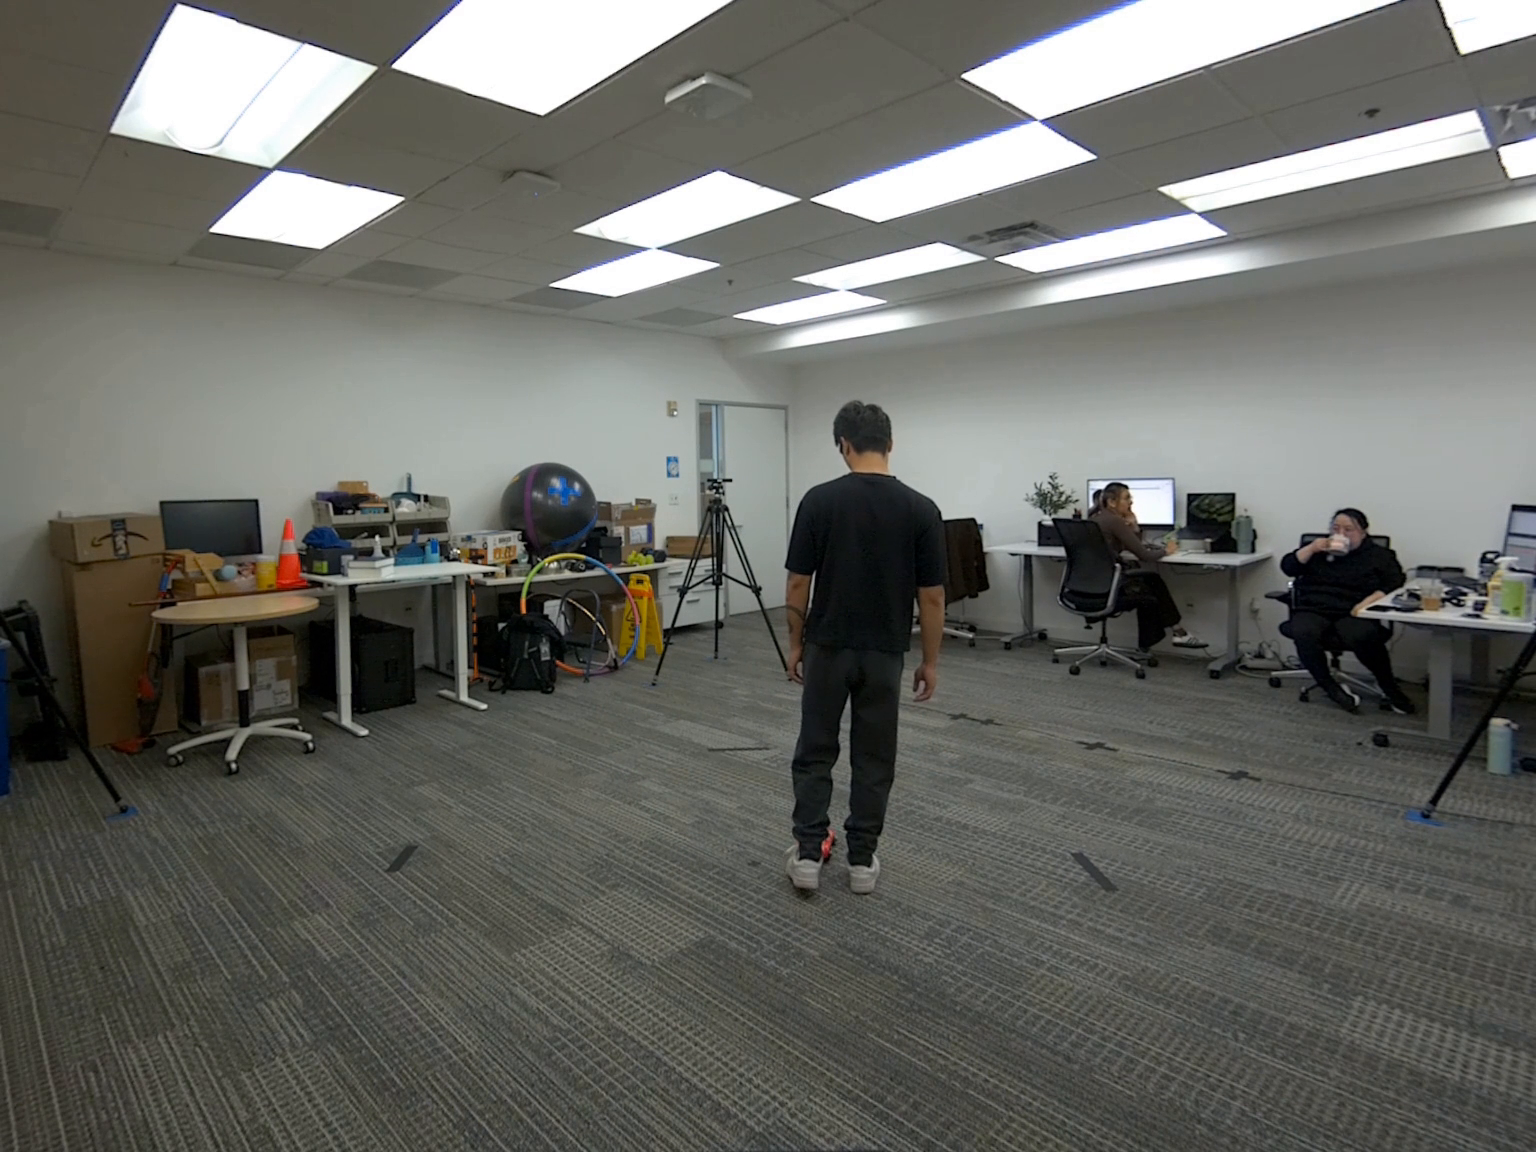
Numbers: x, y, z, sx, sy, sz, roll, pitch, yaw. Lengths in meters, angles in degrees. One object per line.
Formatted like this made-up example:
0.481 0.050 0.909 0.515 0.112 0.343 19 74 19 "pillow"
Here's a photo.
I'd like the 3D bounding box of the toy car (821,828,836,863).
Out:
0.192 1.000 3.184 0.132 0.084 0.249 1 -6 13 "toy car"
